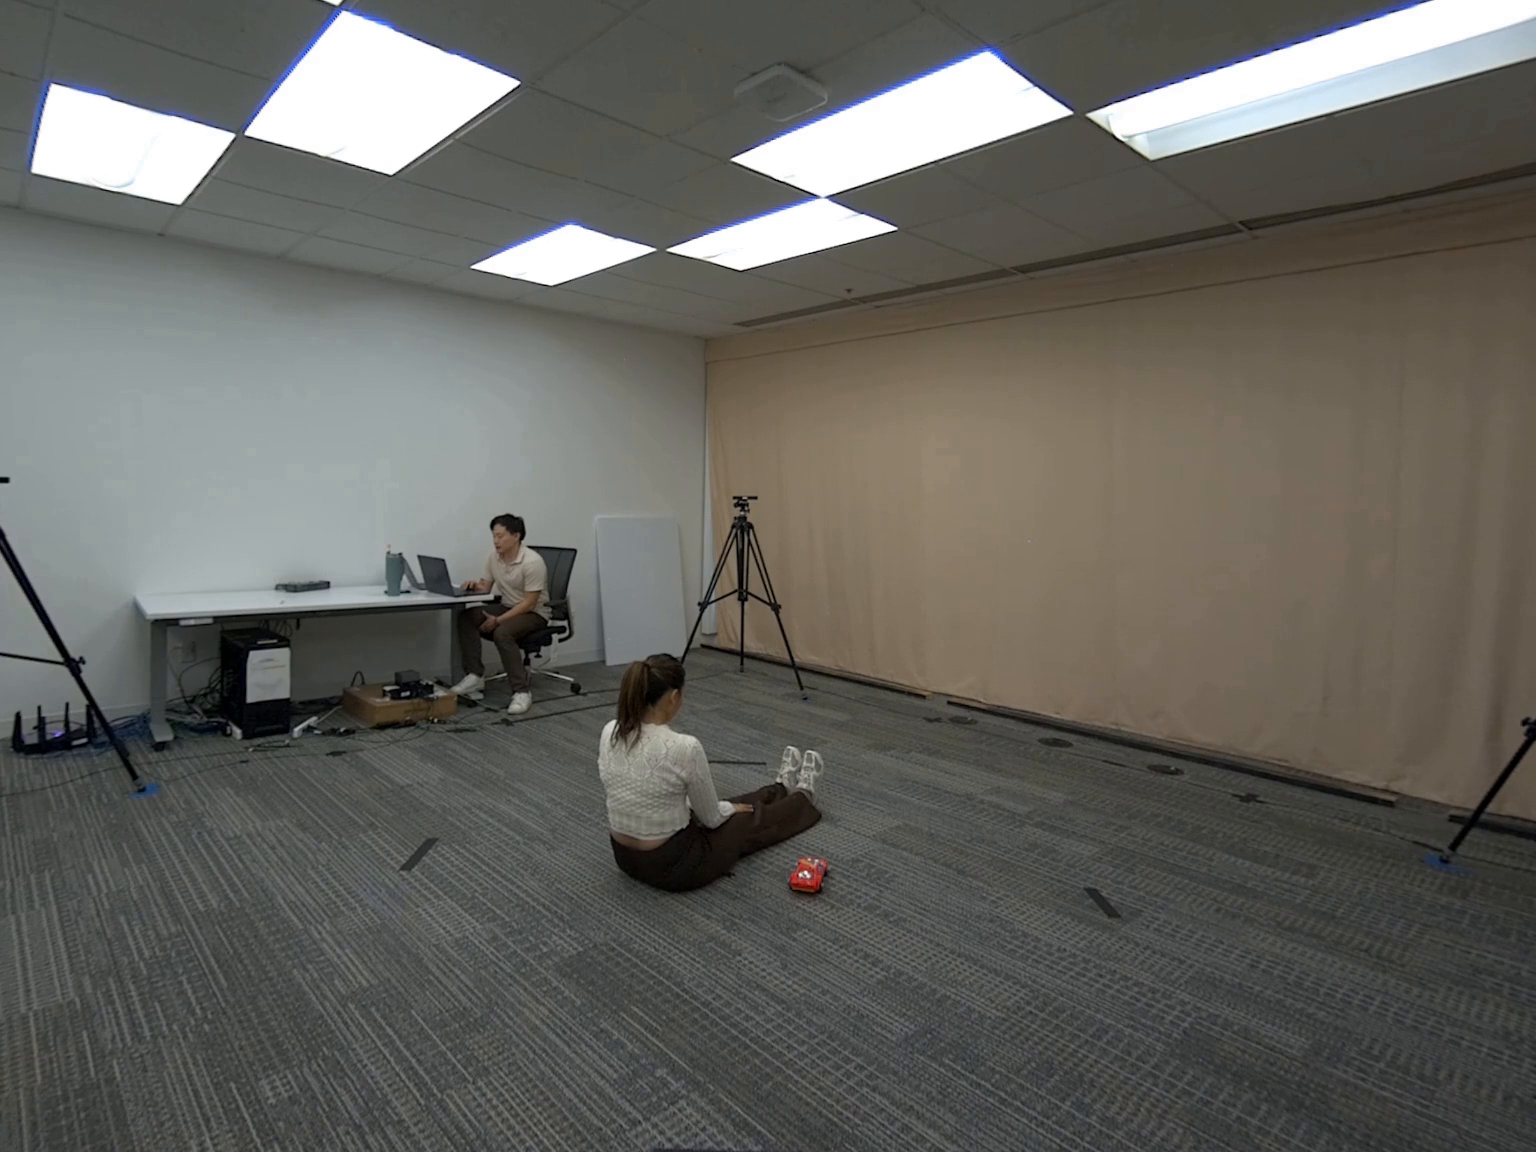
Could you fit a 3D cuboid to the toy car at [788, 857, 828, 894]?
[{"bbox_3d":[0.135,1.082,3.032,0.132,0.083,0.250,2,-7,13],"label":"toy car"}]
